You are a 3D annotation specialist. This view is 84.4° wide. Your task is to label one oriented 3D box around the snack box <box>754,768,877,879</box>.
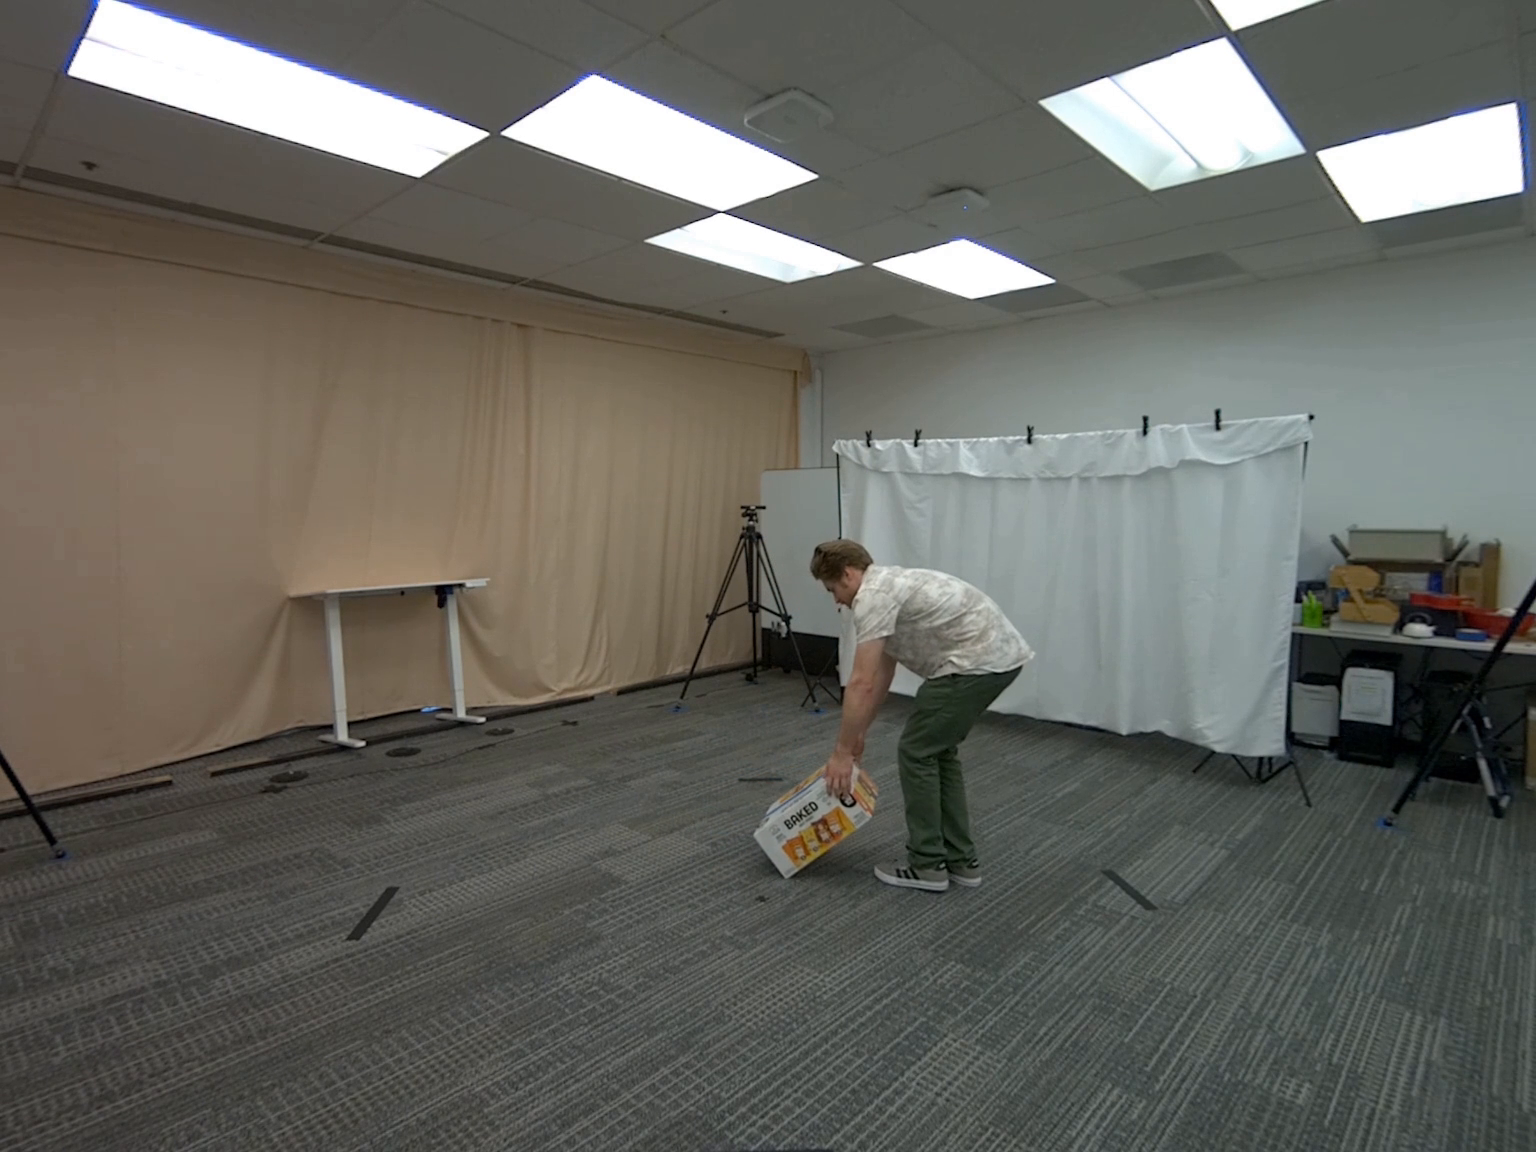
[{"bbox_3d":[0.197,0.917,3.265,0.407,0.207,0.336,-39,-5,13],"label":"snack box"}]
